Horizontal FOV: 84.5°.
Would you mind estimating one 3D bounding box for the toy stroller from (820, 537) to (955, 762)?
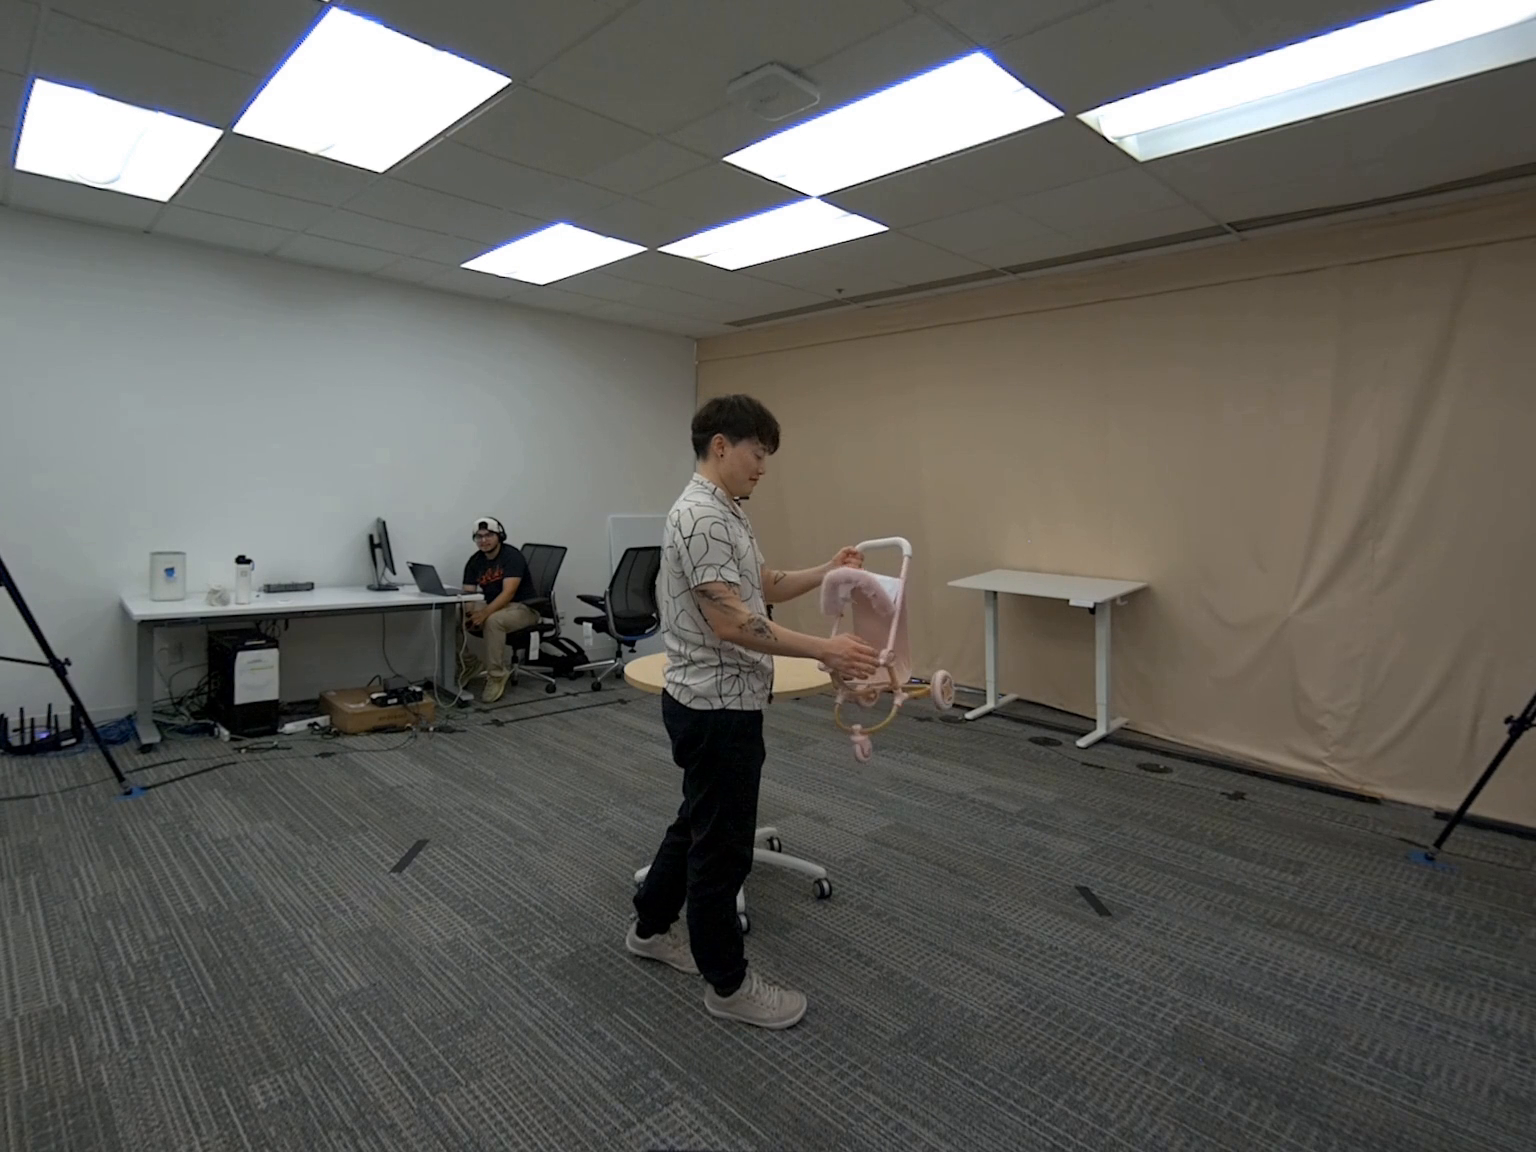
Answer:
[{"bbox_3d":[0.270,0.198,2.270,0.287,0.532,0.336,-6,8,44],"label":"toy stroller"}]
